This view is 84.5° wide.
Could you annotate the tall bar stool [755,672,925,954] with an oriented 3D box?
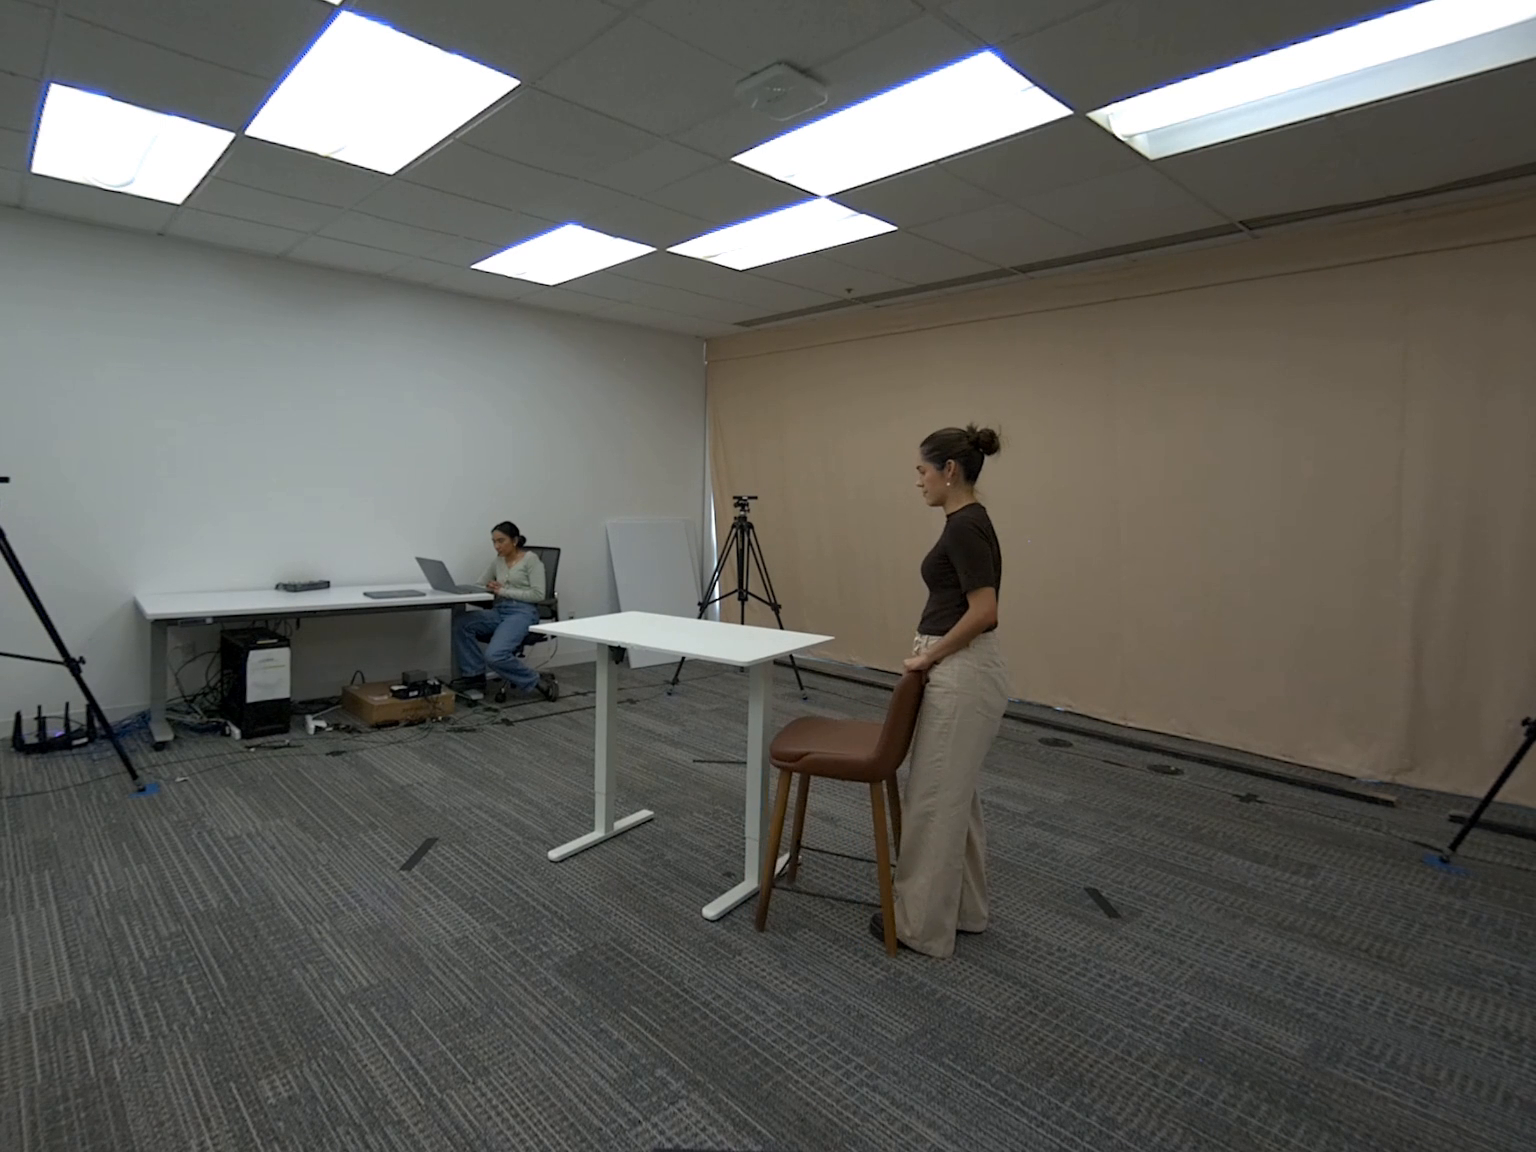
[{"bbox_3d":[0.244,0.701,2.784,0.475,0.887,0.451,6,5,18],"label":"tall bar stool"}]
